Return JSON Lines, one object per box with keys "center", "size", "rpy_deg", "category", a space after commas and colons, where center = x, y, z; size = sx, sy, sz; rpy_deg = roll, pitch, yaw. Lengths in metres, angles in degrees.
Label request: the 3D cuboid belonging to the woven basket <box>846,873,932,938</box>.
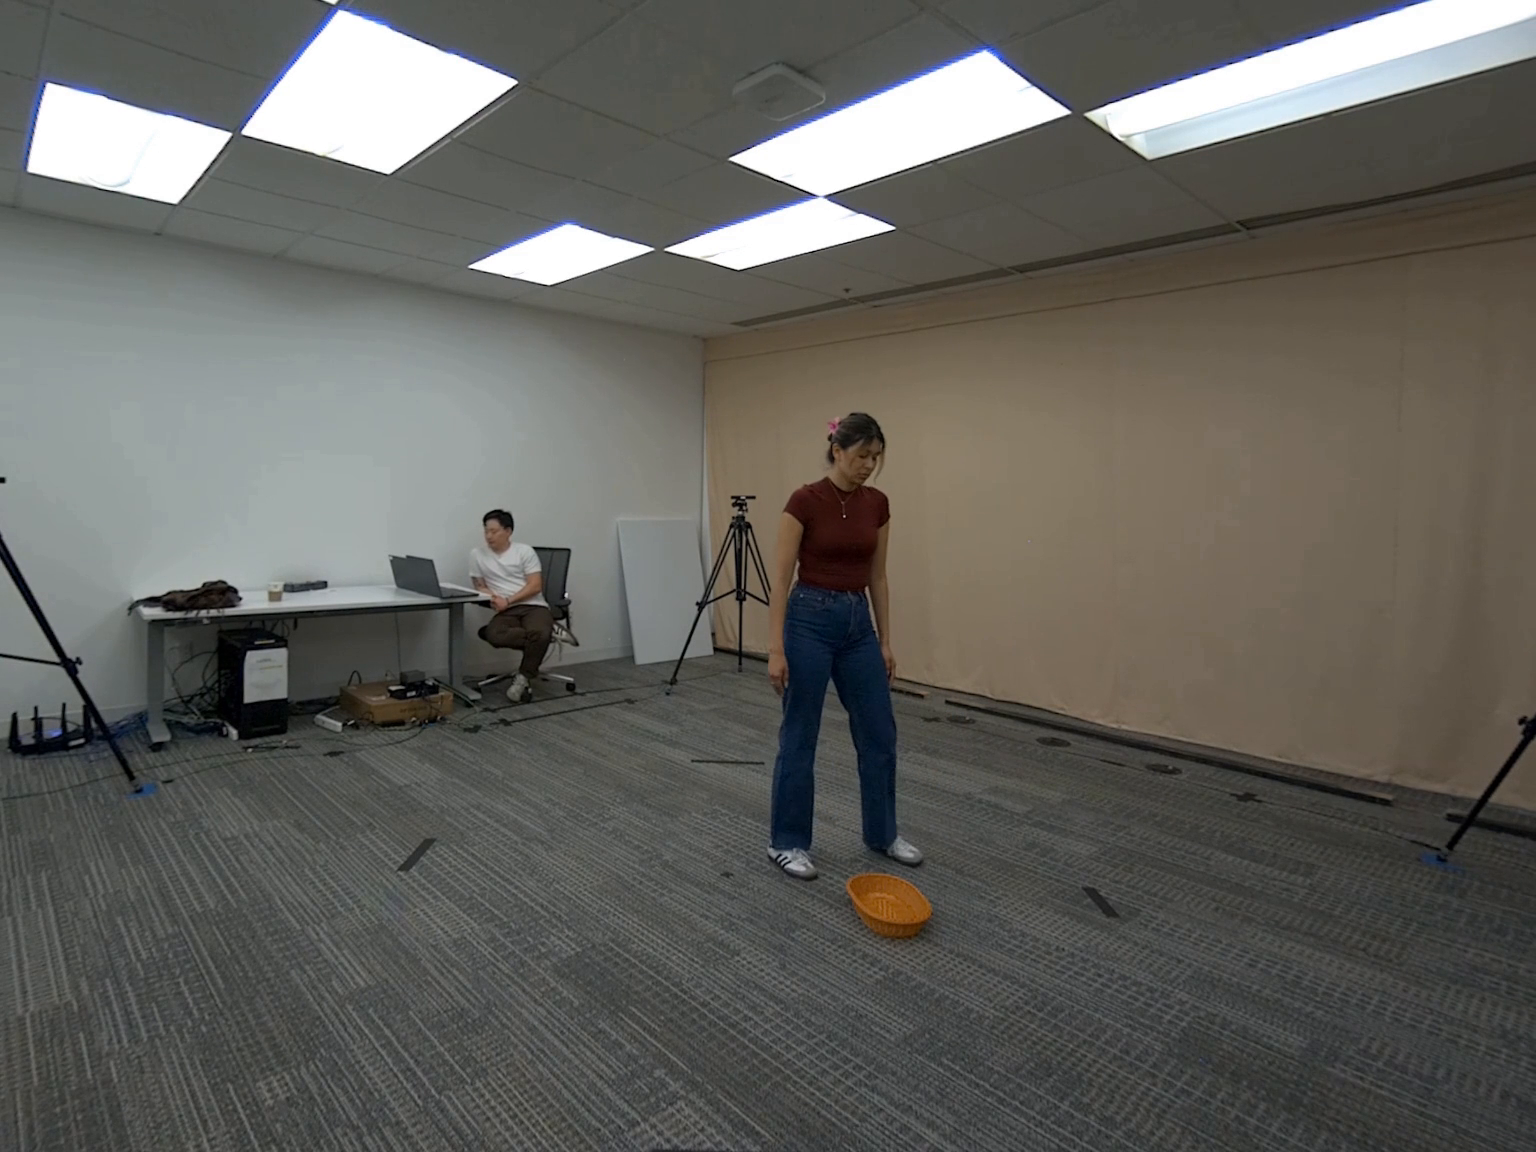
{"center": [0.393, 1.103, 2.812], "size": [0.250, 0.073, 0.355], "rpy_deg": [2, 5, -12], "category": "woven basket"}
